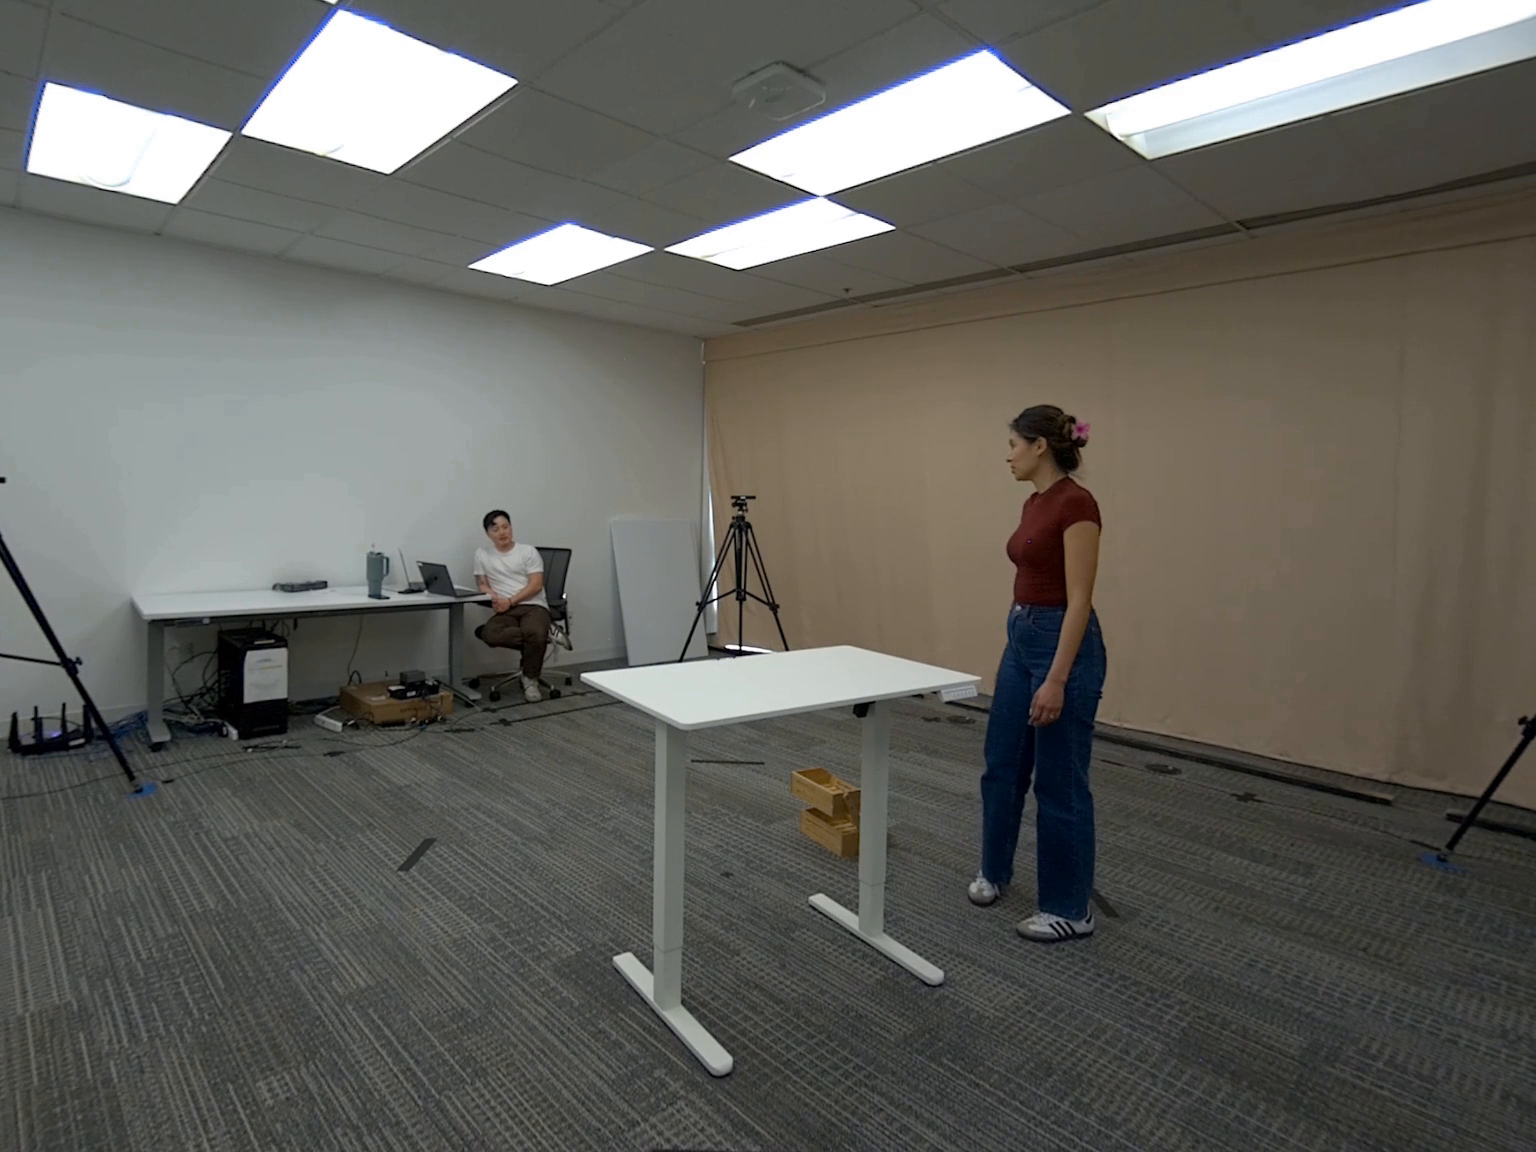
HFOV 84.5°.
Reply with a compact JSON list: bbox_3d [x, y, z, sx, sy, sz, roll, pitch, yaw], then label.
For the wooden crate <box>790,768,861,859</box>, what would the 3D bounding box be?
[{"bbox_3d":[0.292,0.948,3.446,0.296,0.272,0.332,-1,5,-30],"label":"wooden crate"}]
